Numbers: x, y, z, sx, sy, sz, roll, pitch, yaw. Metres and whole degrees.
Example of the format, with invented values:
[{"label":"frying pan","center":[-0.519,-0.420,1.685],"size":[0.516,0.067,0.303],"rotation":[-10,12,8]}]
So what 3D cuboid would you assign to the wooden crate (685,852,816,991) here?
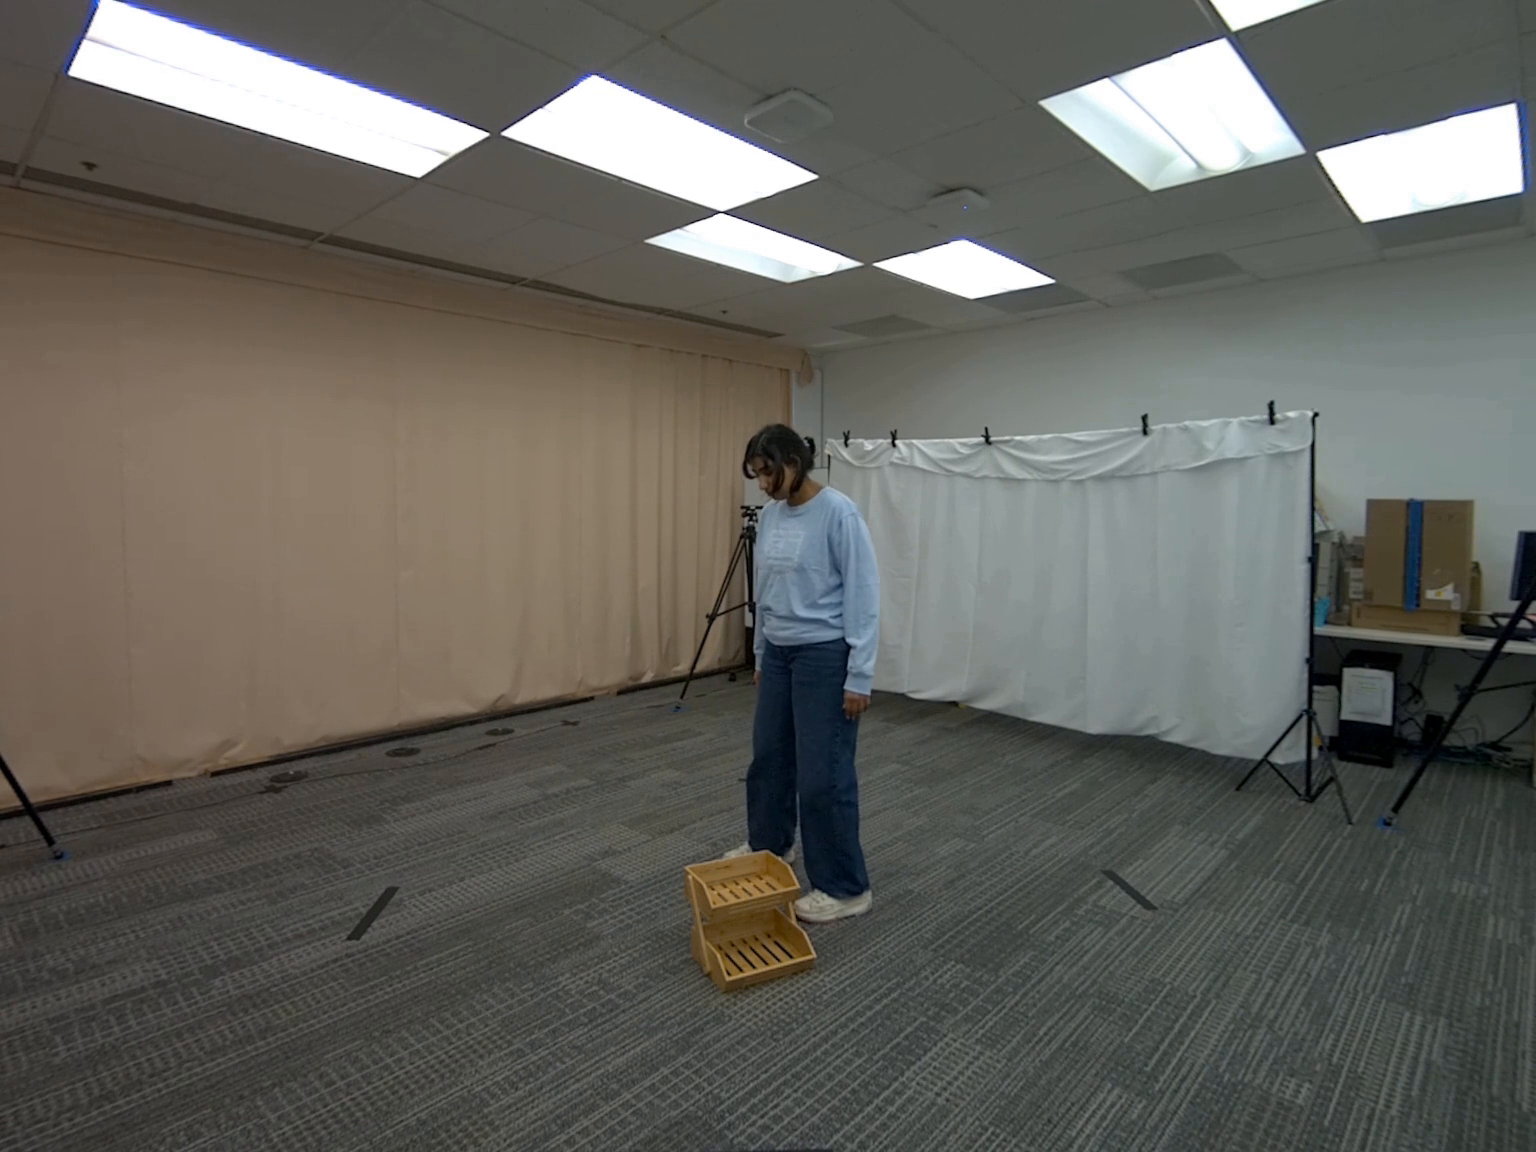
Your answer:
[{"label":"wooden crate","center":[-0.056,1.044,2.573],"size":[0.316,0.273,0.310],"rotation":[-2,3,-28]}]
